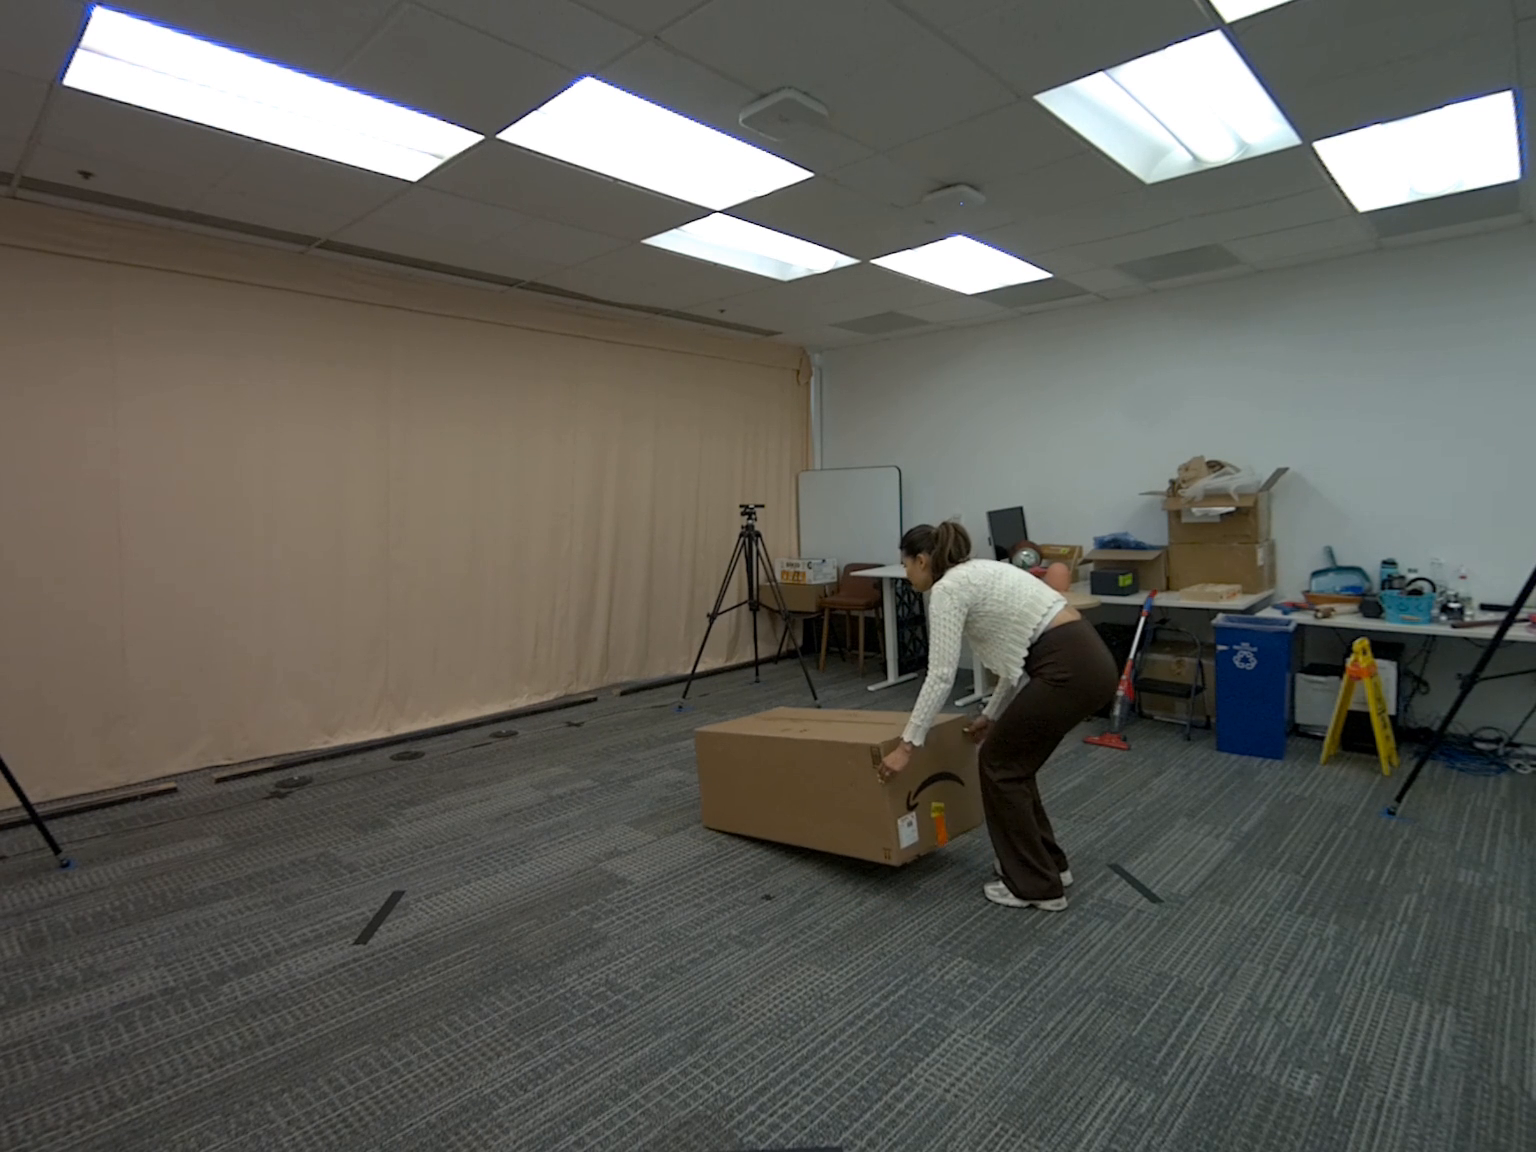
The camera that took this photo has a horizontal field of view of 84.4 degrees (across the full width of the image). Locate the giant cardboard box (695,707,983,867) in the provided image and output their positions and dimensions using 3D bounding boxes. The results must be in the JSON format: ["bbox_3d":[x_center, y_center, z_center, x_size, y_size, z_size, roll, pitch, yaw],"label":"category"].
[{"bbox_3d":[0.257,0.811,3.470,0.560,0.427,1.056,-5,-2,-43],"label":"giant cardboard box"}]
